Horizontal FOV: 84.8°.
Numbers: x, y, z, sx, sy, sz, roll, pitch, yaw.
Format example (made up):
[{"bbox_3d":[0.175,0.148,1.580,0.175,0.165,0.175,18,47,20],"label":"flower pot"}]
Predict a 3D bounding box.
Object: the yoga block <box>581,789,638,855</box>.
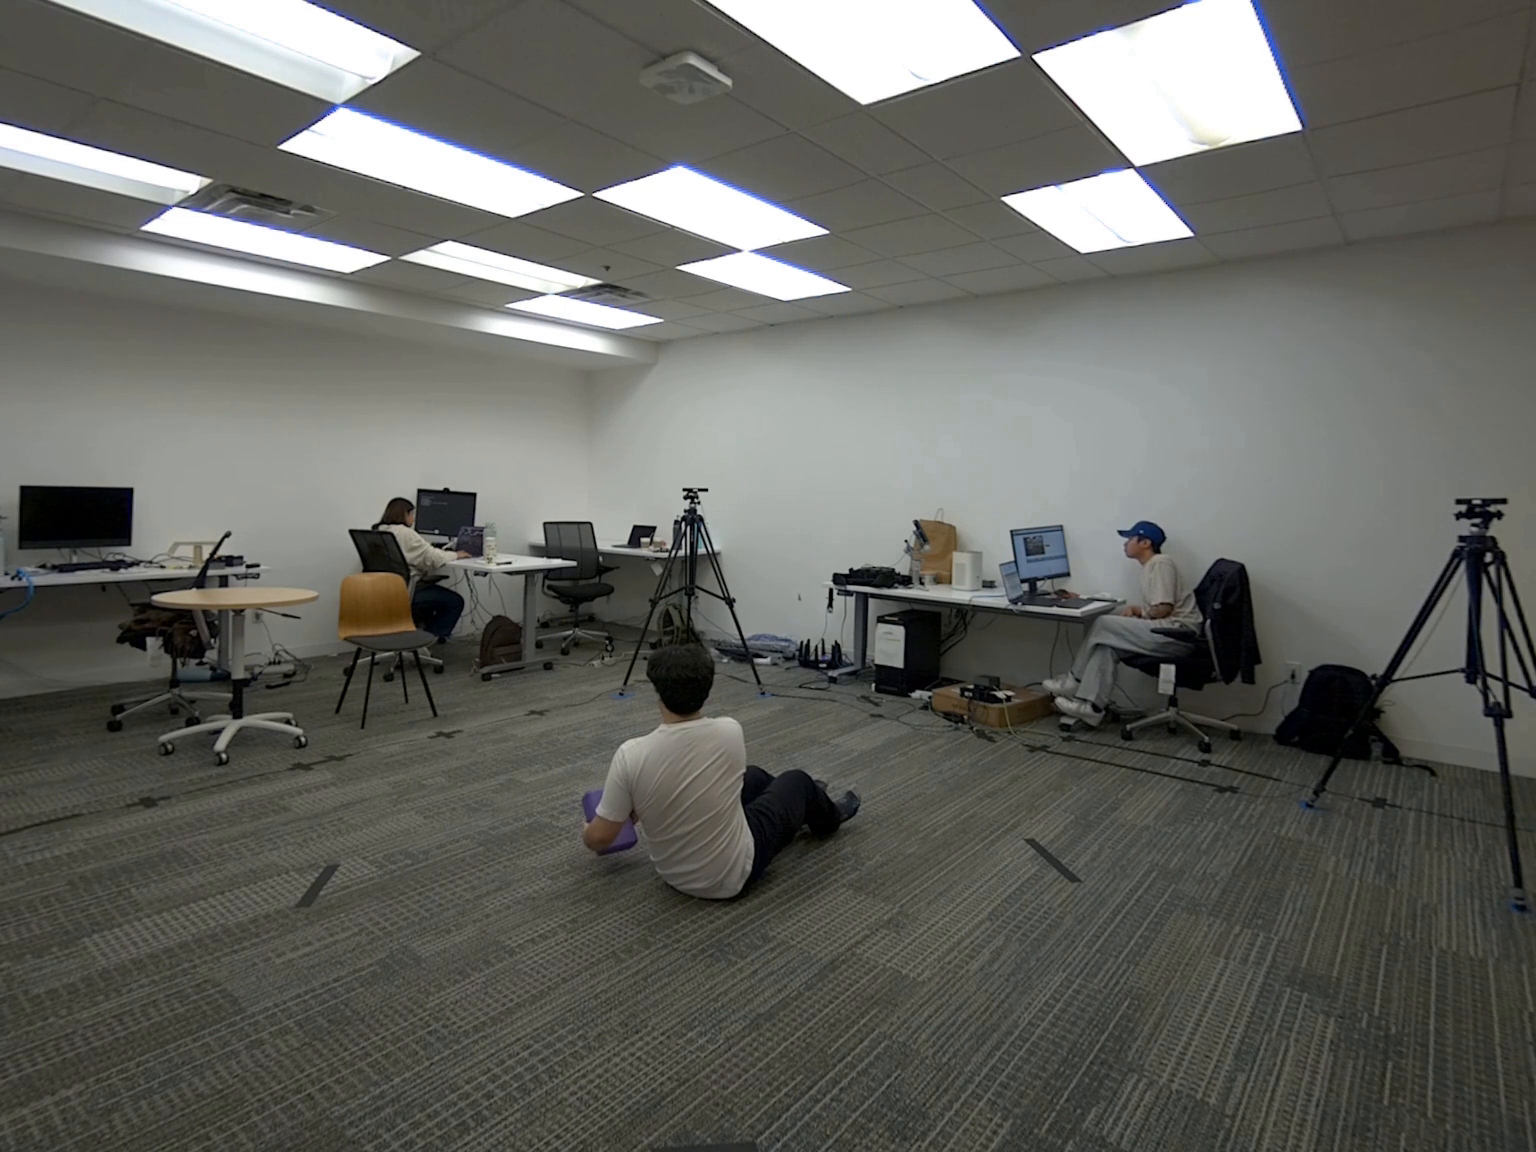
[{"bbox_3d":[-0.598,0.910,3.197,0.144,0.237,0.076,-3,-35,-38],"label":"yoga block"}]
